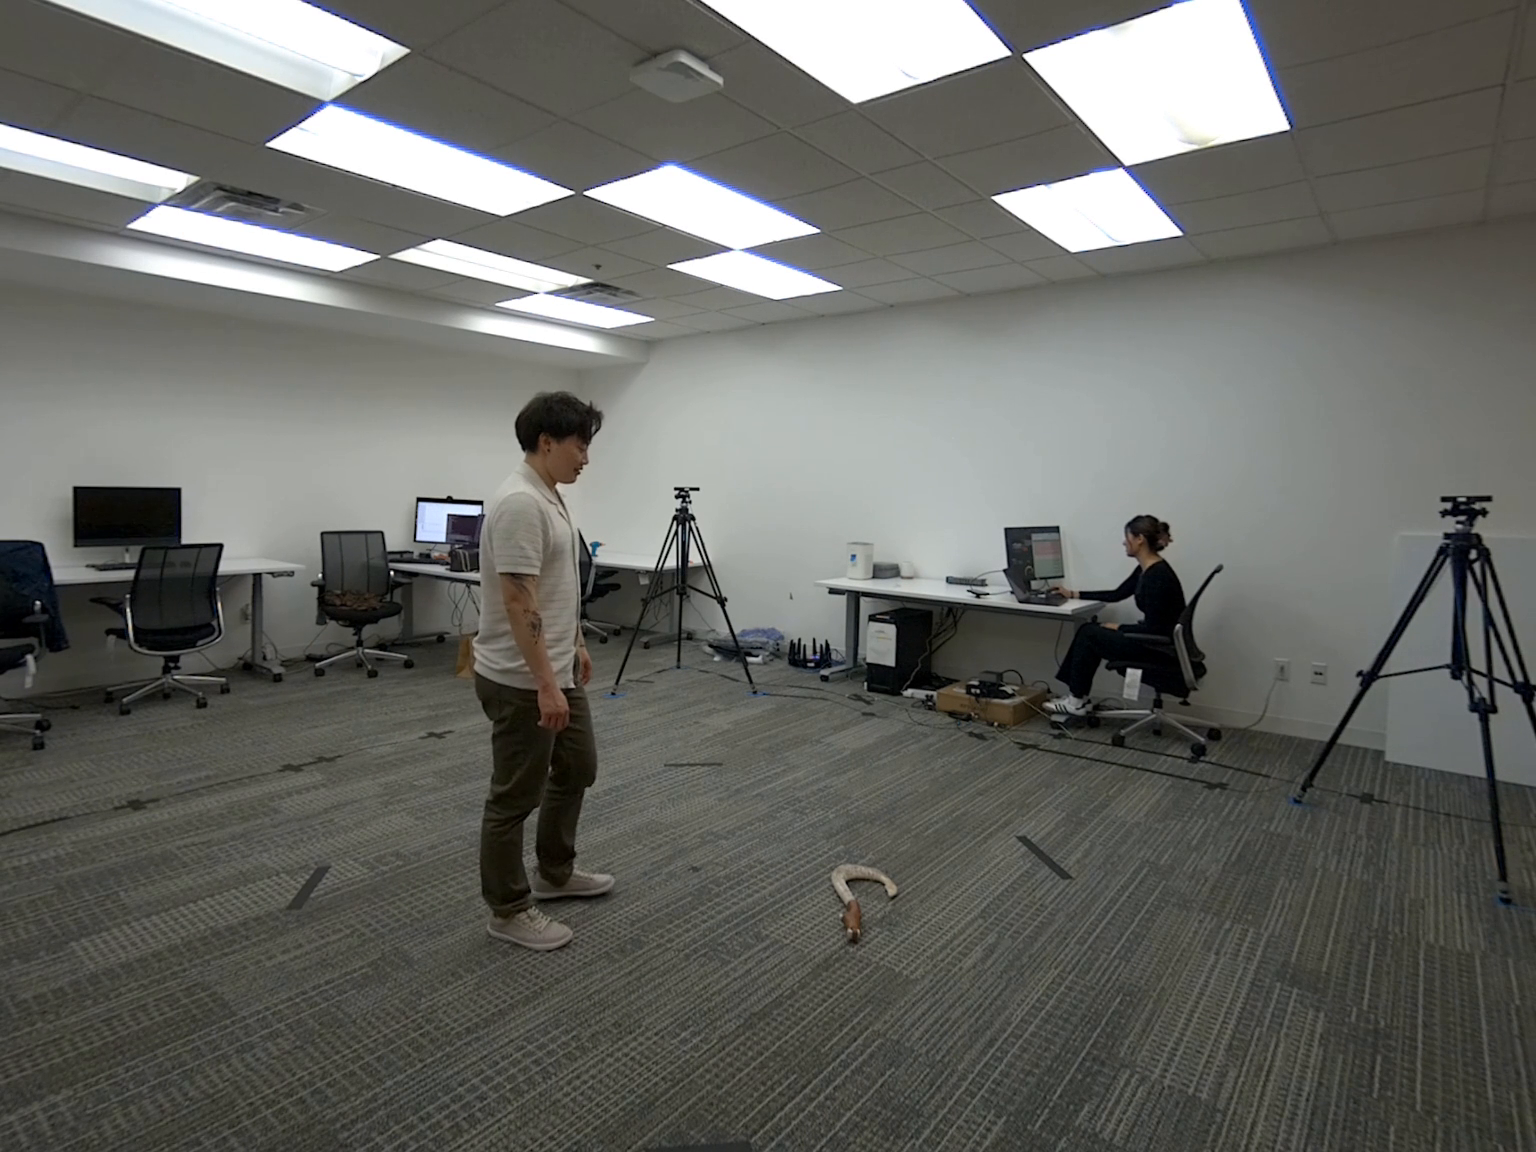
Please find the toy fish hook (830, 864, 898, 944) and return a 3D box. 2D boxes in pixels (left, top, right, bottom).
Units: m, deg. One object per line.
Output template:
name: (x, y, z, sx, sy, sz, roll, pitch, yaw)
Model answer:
toy fish hook: (0.328, 1.082, 2.845, 0.226, 0.048, 0.506, 0, 6, 3)
